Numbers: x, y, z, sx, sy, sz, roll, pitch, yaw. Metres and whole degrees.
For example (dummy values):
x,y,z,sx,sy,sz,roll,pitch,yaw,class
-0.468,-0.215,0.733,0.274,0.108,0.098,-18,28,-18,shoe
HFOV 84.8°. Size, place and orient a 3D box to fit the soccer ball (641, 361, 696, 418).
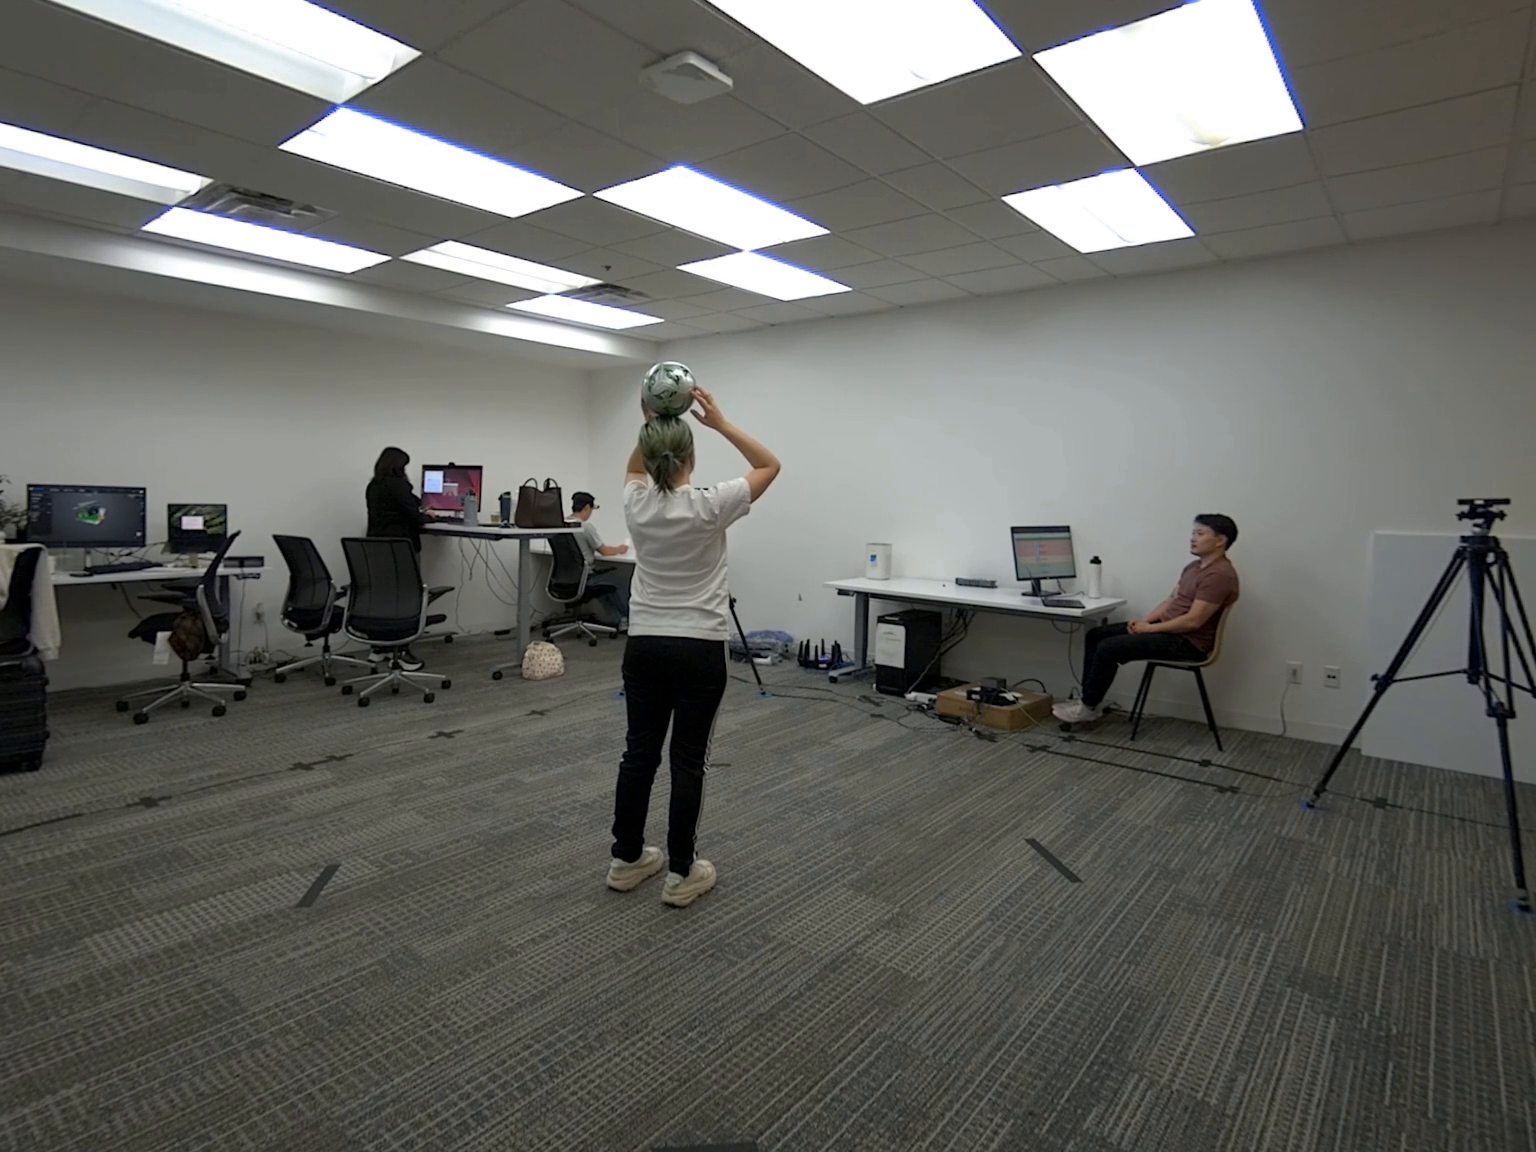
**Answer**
x,y,z,sx,sy,sz,roll,pitch,yaw,class
-0.342,-0.634,2.886,0.187,0.187,0.188,1,4,-2,soccer ball
